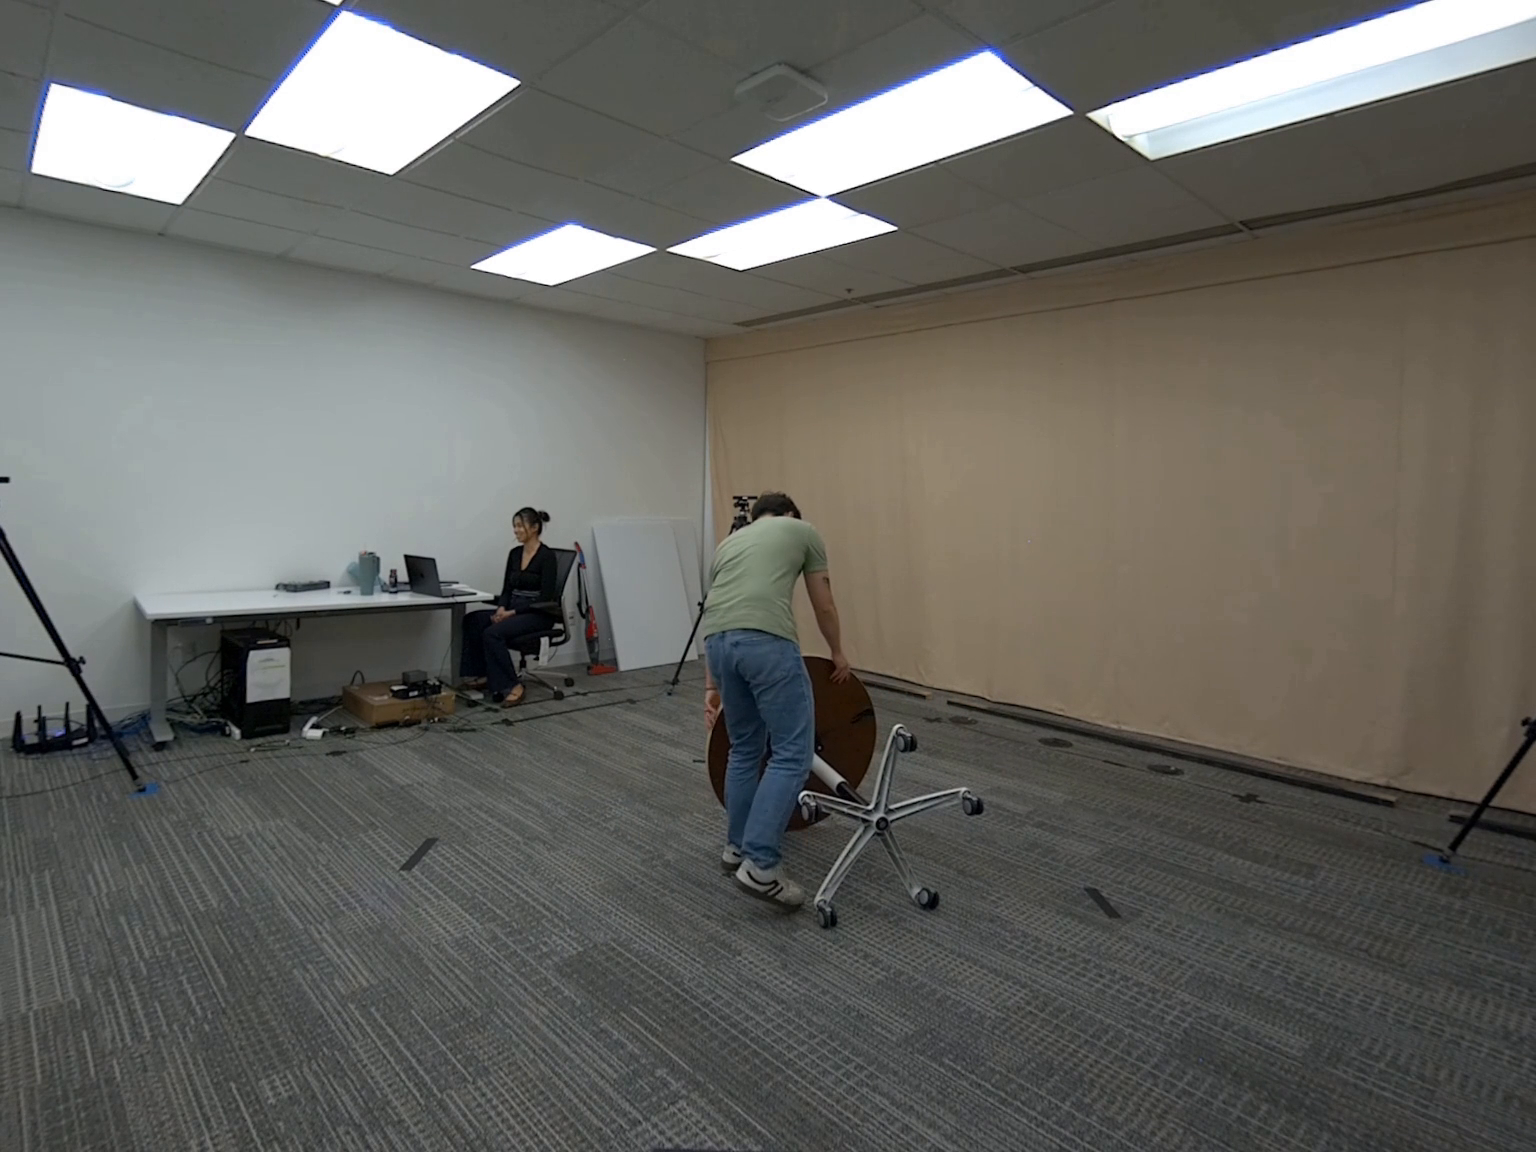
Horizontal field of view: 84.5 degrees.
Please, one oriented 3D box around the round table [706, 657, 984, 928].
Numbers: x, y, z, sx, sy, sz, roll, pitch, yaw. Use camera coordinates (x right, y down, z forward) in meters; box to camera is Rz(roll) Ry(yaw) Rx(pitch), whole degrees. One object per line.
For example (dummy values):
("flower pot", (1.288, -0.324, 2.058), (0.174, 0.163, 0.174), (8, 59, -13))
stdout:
("round table", (0.258, 0.781, 3.124), (0.751, 0.759, 0.812), (0, 11, -22))
